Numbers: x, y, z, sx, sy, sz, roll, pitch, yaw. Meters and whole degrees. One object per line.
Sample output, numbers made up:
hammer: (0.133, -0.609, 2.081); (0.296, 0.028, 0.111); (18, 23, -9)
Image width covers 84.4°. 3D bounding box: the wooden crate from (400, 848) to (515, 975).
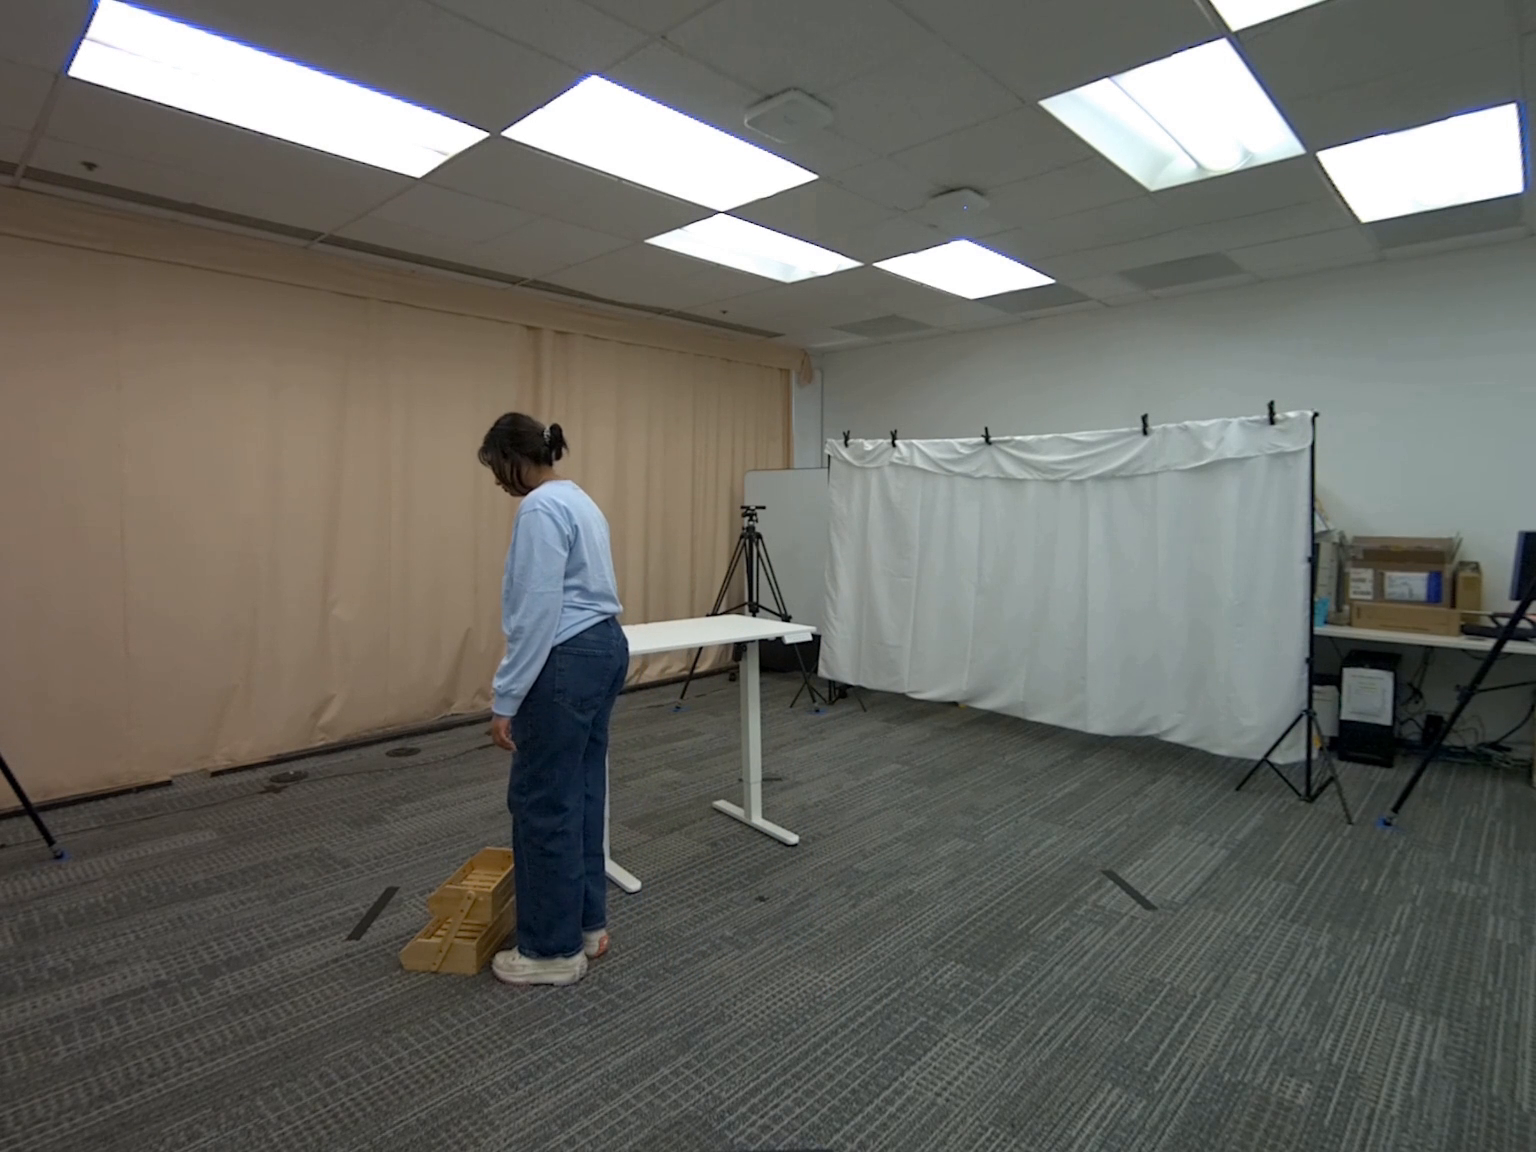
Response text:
wooden crate: (-0.966, 1.051, 2.662); (0.304, 0.273, 0.322); (1, 4, 6)
